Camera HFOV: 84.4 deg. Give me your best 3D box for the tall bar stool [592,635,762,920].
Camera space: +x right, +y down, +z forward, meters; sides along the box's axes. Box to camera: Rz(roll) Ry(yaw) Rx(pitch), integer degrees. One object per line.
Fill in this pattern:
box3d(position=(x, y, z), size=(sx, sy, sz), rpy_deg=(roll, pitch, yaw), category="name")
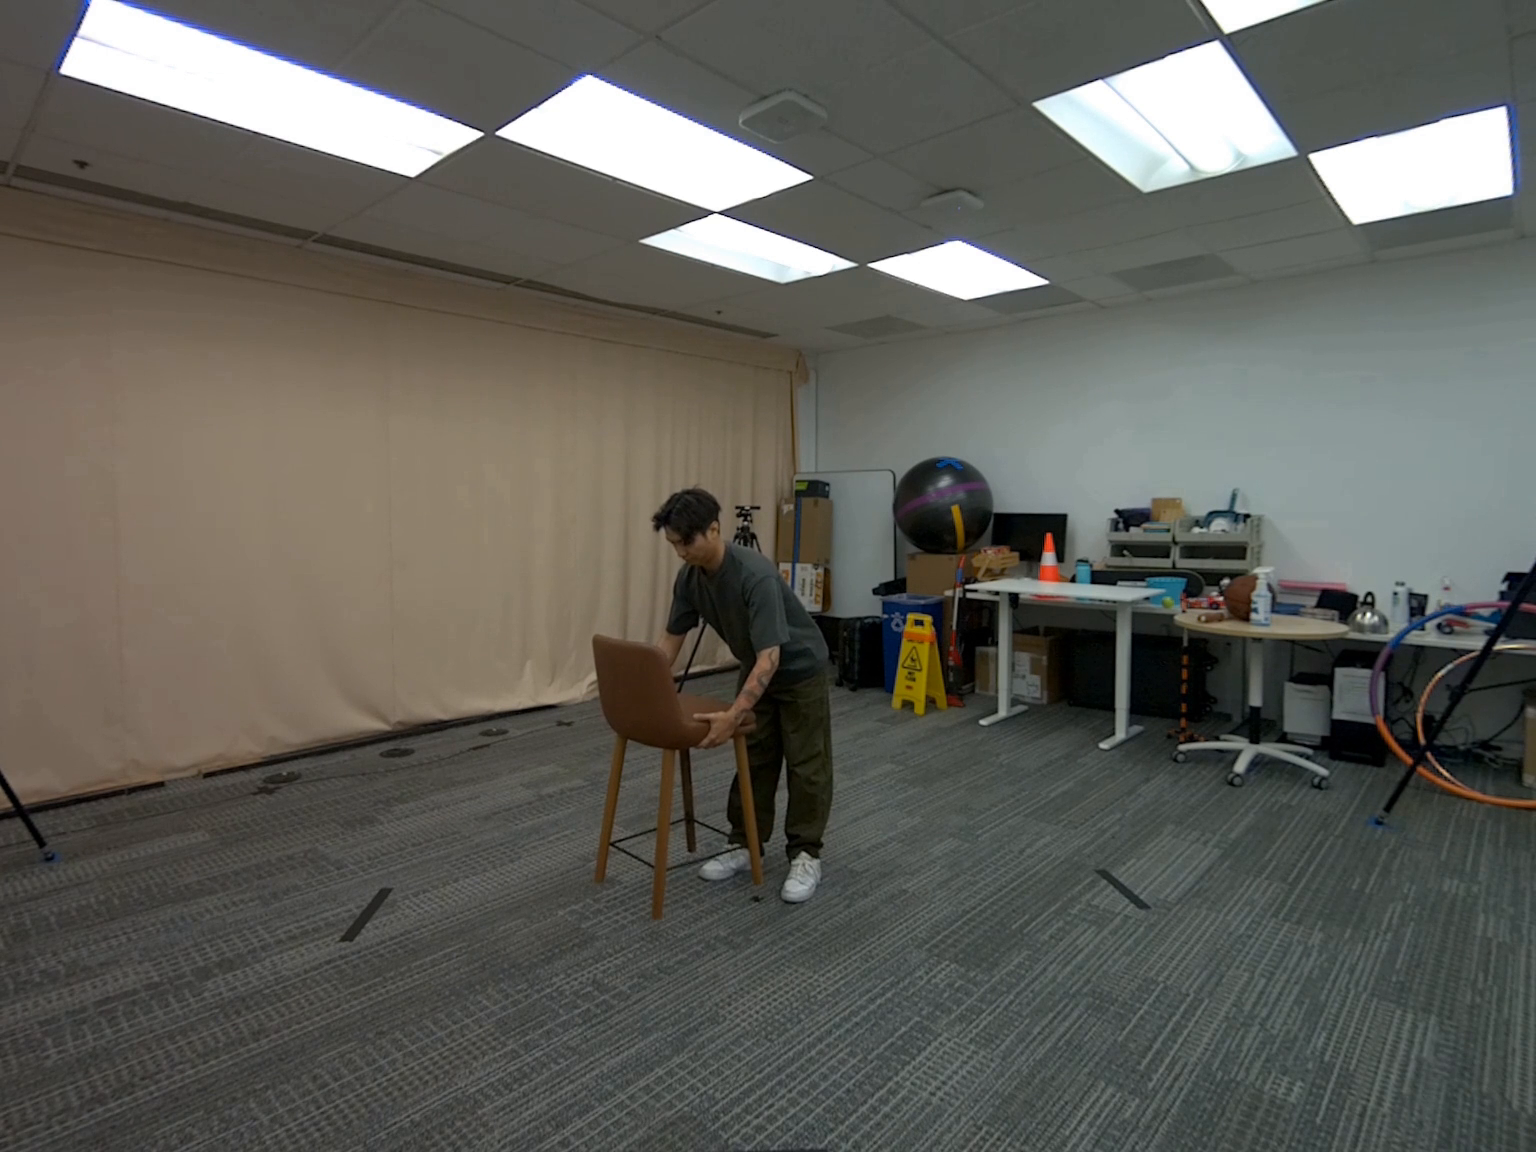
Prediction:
box3d(position=(-0.321, 0.636, 2.911), size=(0.453, 0.888, 0.471), rpy_deg=(-4, 4, -40), category="tall bar stool")
